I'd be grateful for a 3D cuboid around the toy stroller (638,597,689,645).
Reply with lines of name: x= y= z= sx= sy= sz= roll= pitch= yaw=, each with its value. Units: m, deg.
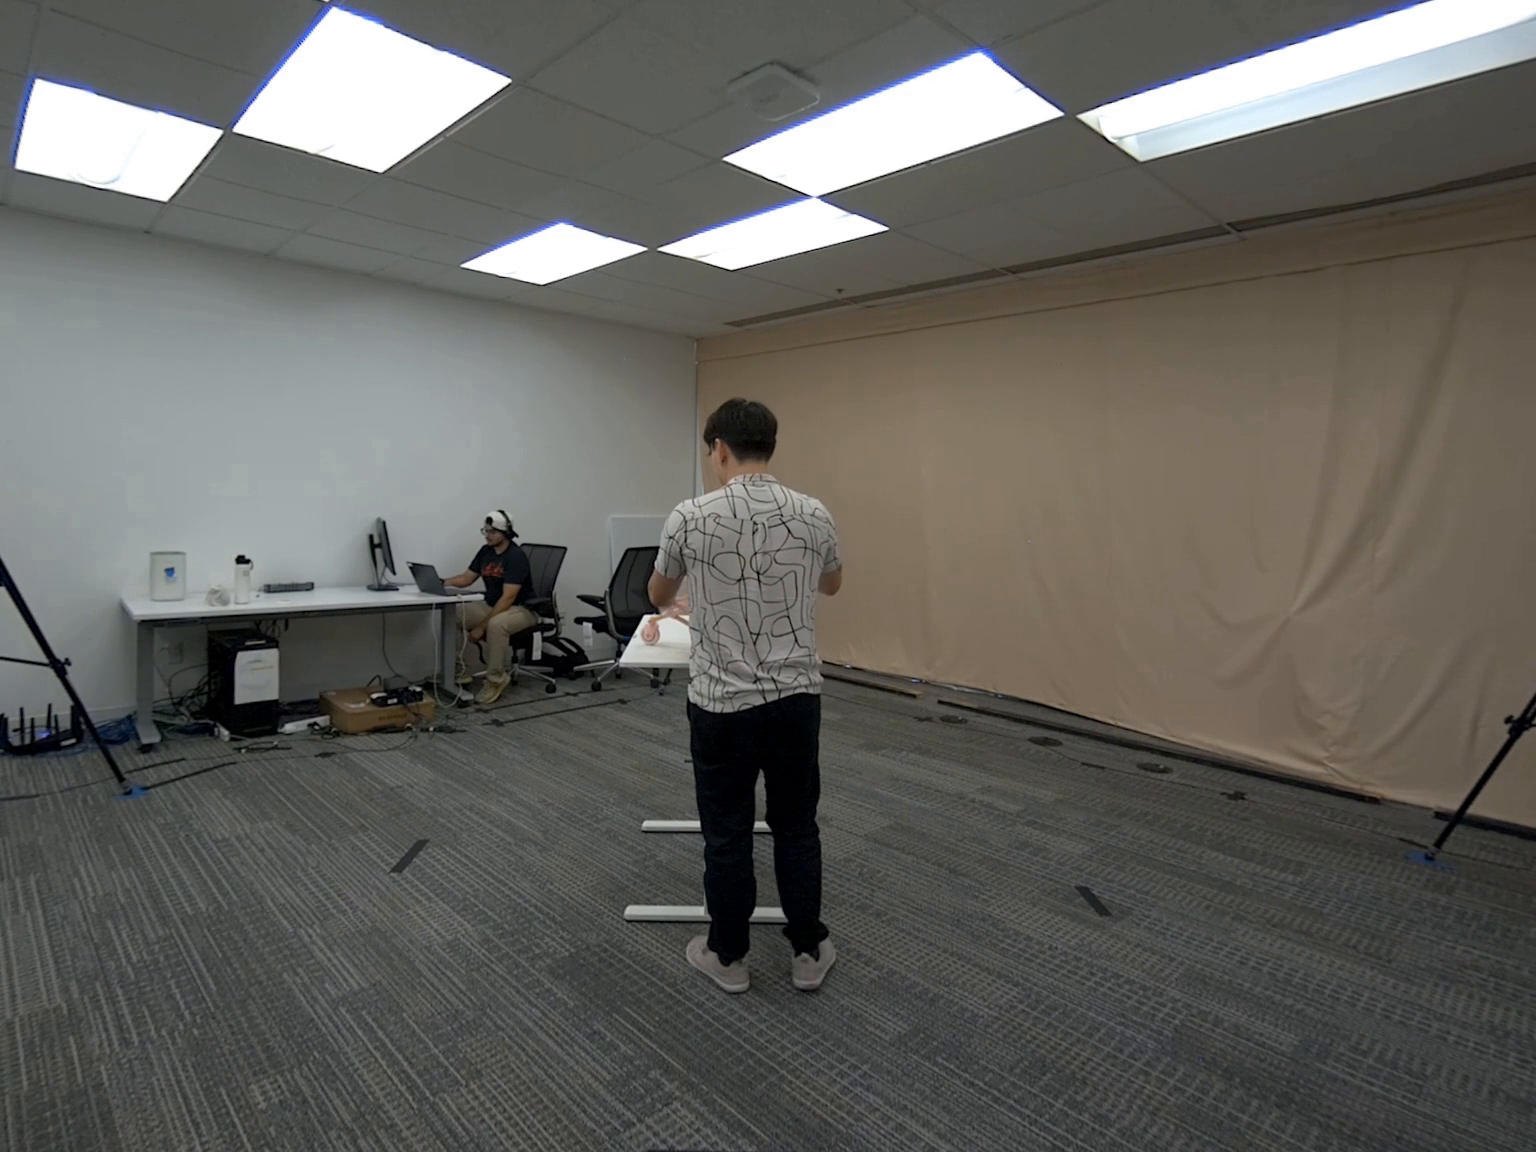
toy stroller: x=-0.213 y=0.025 z=2.818 sx=0.347 sy=0.532 sz=0.277 roll=18 pitch=9 yaw=18
